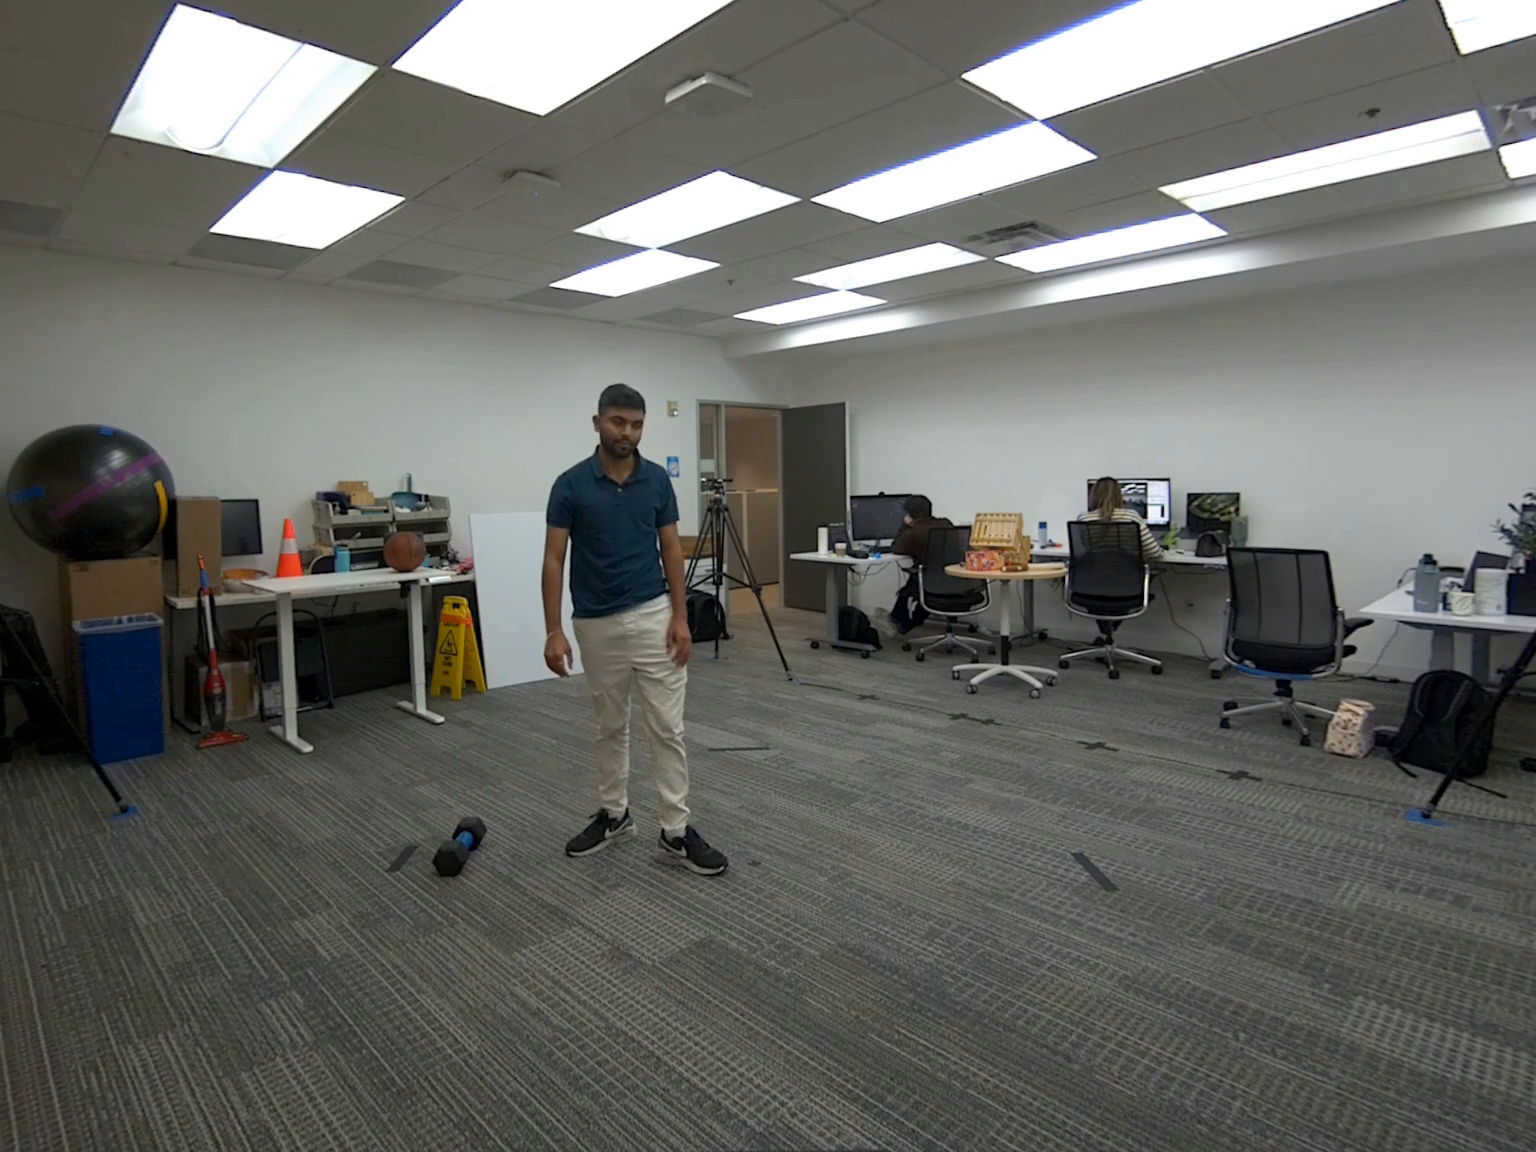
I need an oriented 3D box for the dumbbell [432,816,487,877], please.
[{"bbox_3d":[-1.146,1.007,3.190,0.123,0.108,0.295,1,7,-1],"label":"dumbbell"}]
